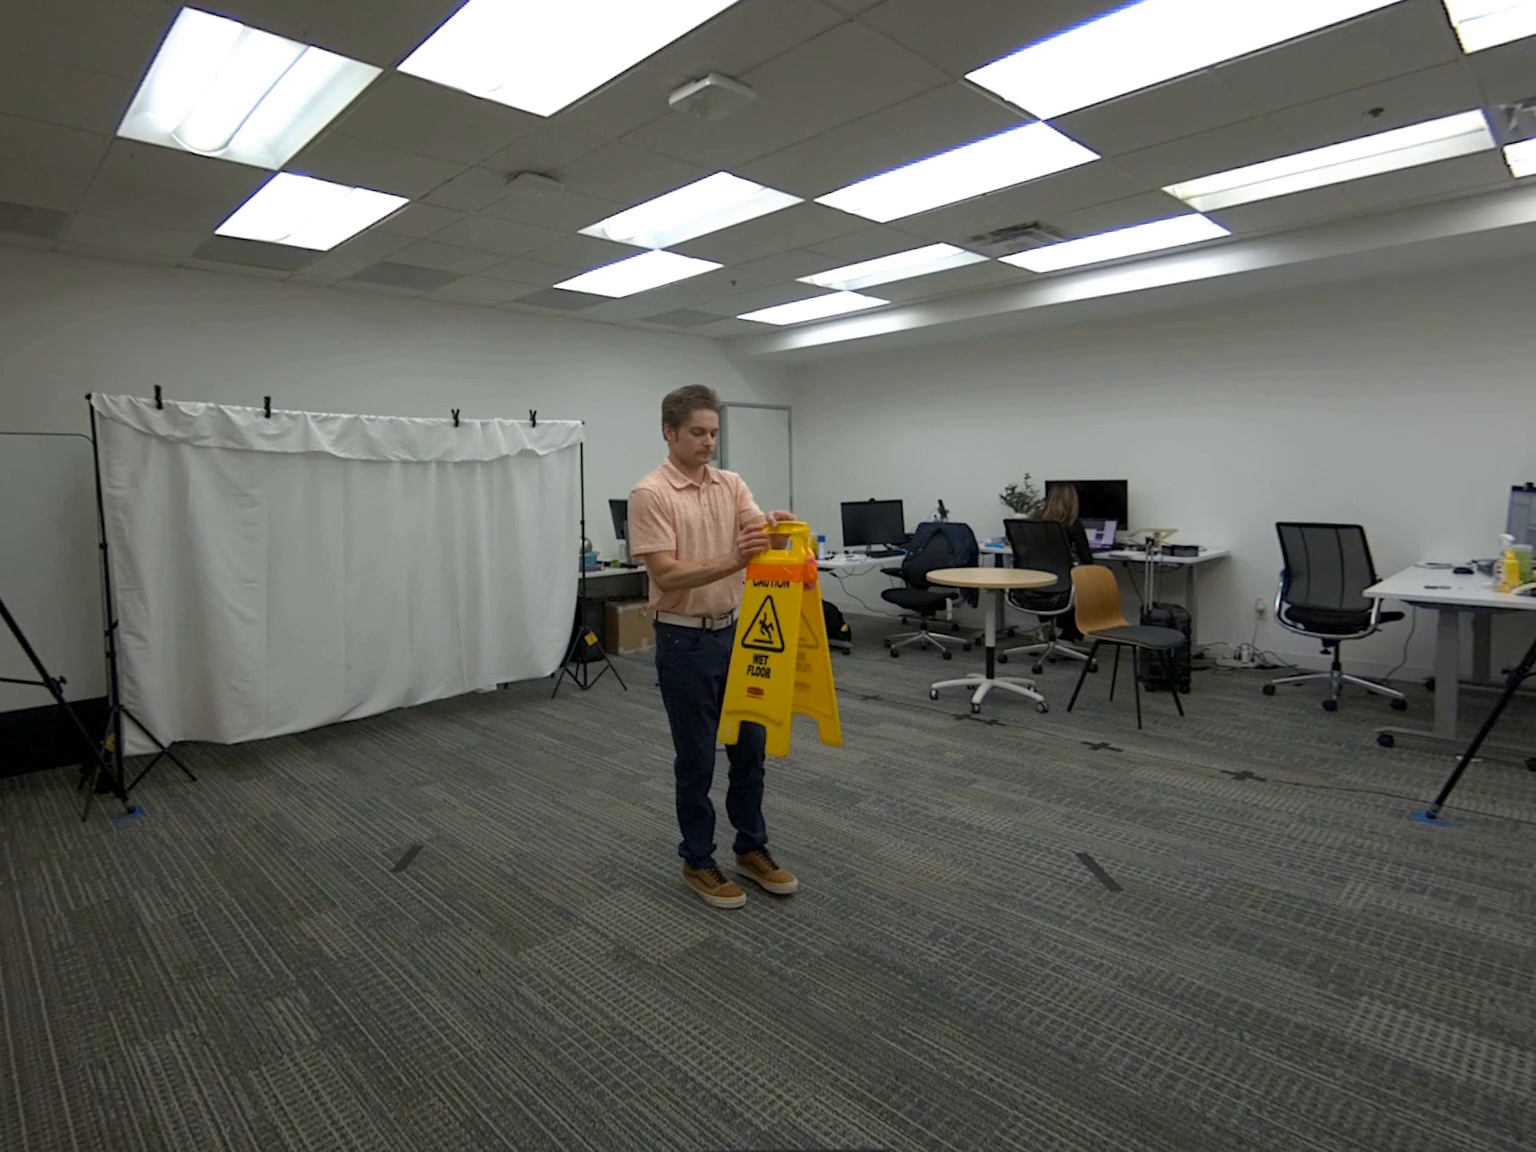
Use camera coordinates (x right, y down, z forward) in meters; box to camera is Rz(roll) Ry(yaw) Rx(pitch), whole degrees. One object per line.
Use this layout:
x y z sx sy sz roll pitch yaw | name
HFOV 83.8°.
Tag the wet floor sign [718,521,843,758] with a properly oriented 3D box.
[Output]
0.045 0.168 2.516 0.281 0.647 0.290 2 -1 -44 | wet floor sign
